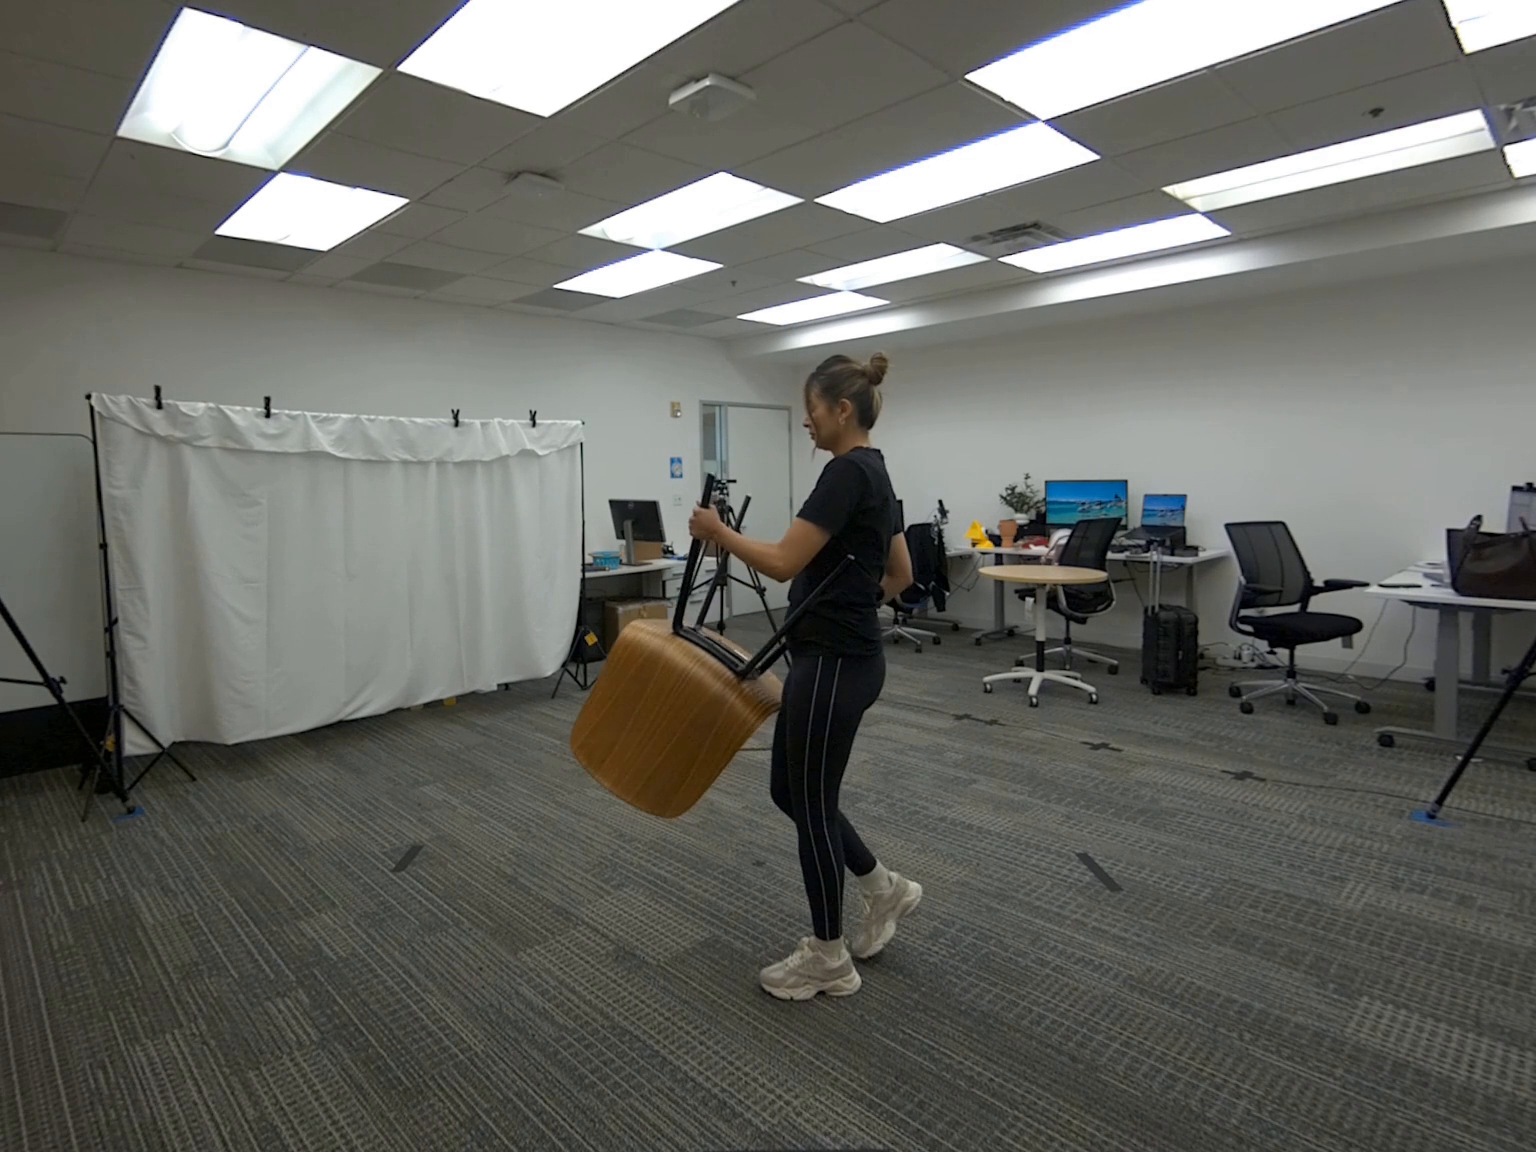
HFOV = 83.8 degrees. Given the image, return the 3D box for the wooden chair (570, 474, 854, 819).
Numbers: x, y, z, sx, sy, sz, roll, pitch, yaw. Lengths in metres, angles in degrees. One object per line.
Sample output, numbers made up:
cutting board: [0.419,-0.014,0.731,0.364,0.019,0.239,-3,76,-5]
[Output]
wooden chair: [-0.135,0.218,2.467,0.487,0.877,0.513,31,0,13]
